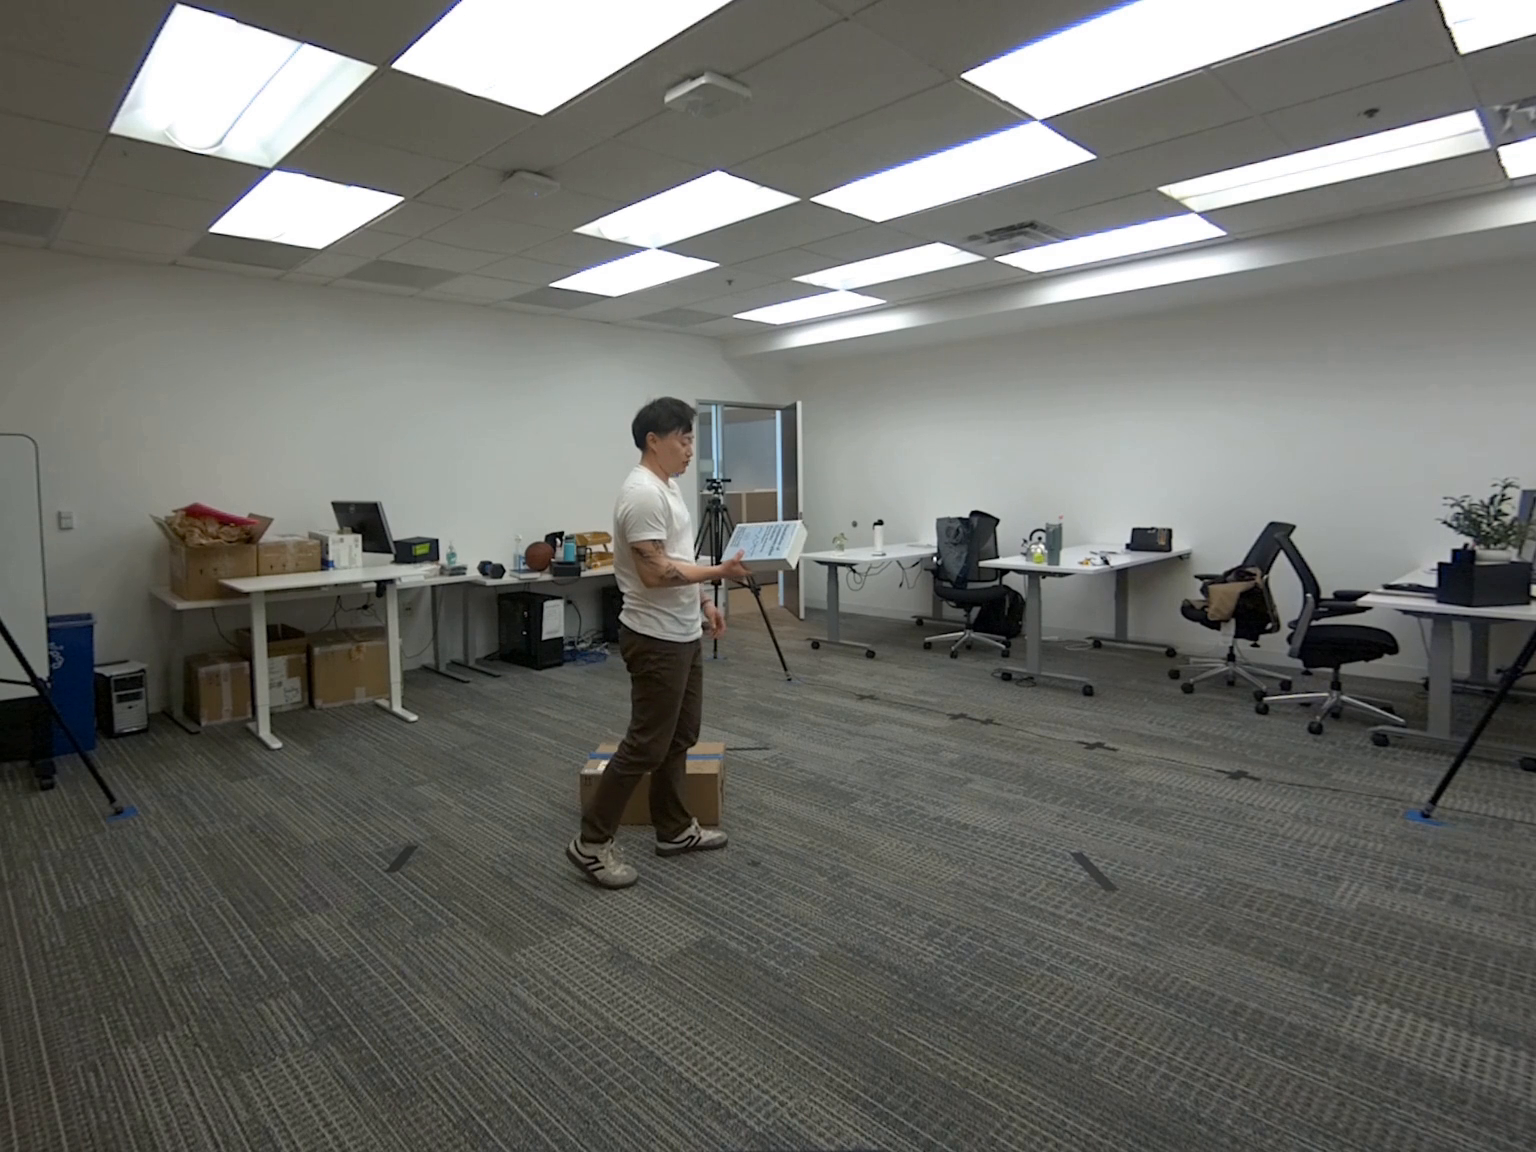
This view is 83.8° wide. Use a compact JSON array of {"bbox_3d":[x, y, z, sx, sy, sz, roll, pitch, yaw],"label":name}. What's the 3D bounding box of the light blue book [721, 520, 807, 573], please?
[{"bbox_3d":[-0.012,-0.103,2.958,0.267,0.057,0.194,-2,46,30],"label":"light blue book"}]
